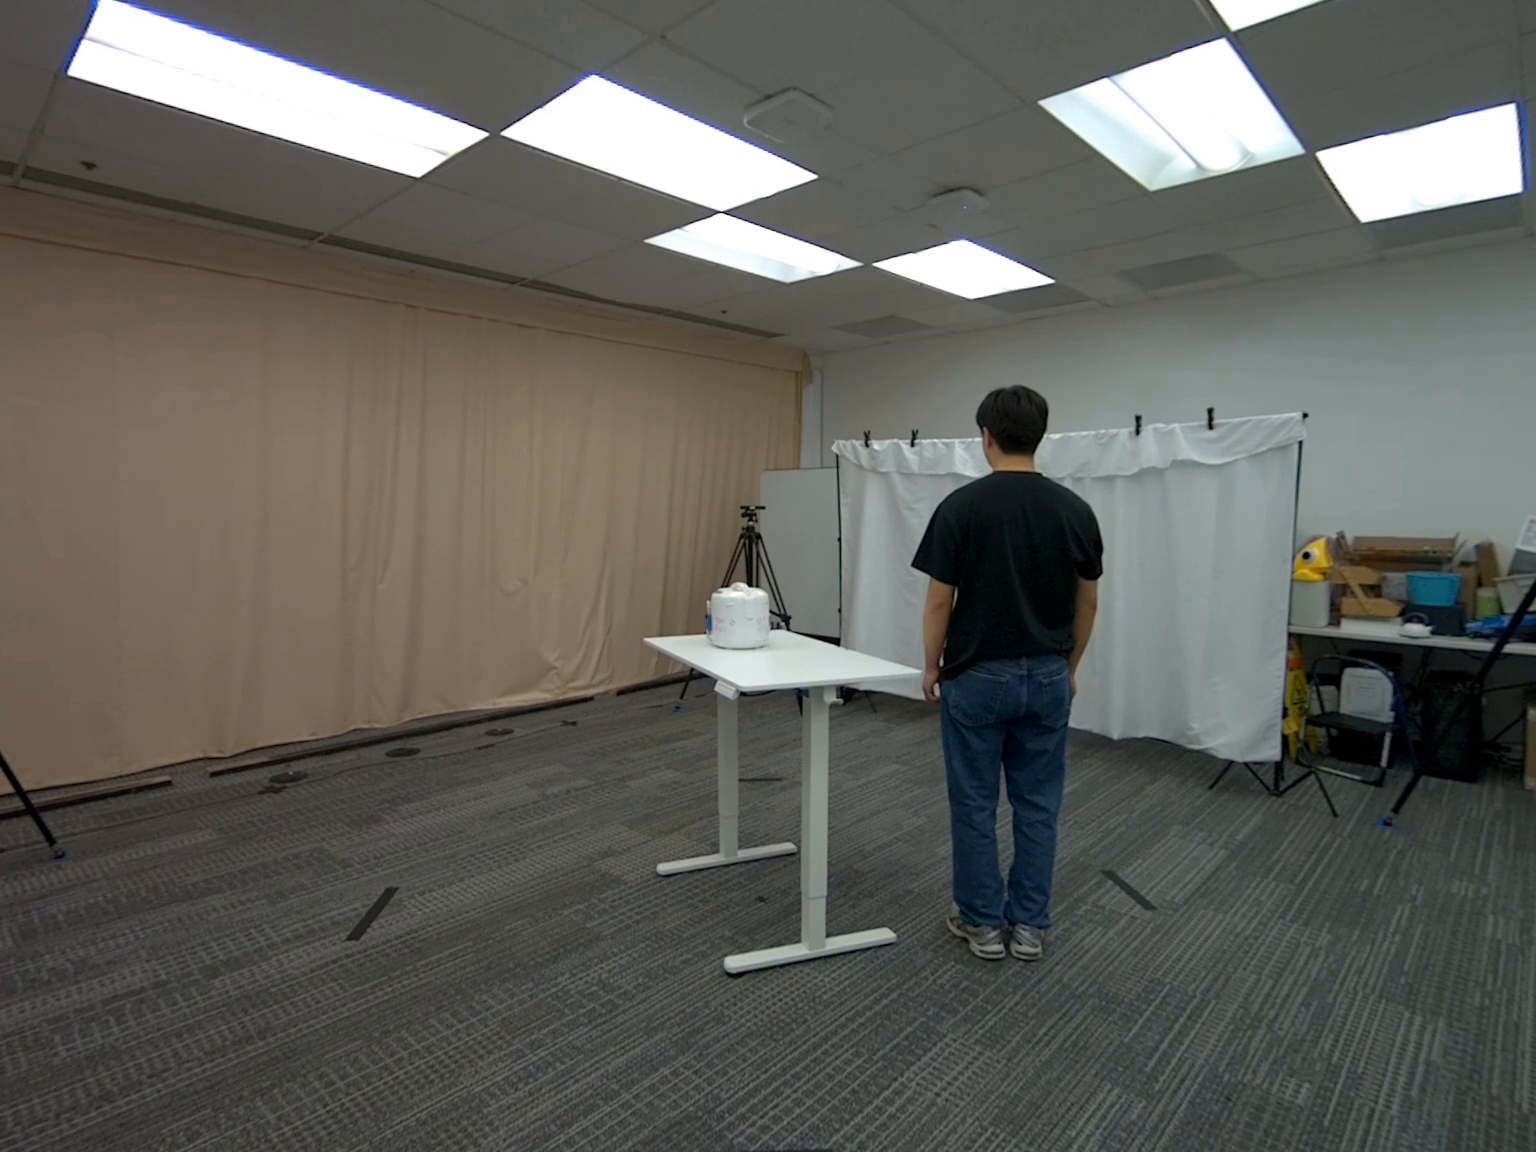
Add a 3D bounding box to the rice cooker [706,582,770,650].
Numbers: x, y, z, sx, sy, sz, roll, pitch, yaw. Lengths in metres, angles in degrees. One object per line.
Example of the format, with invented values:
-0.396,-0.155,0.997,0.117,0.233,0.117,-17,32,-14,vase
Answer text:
-0.099,0.140,3.062,0.213,0.232,0.225,-1,4,-20,rice cooker
